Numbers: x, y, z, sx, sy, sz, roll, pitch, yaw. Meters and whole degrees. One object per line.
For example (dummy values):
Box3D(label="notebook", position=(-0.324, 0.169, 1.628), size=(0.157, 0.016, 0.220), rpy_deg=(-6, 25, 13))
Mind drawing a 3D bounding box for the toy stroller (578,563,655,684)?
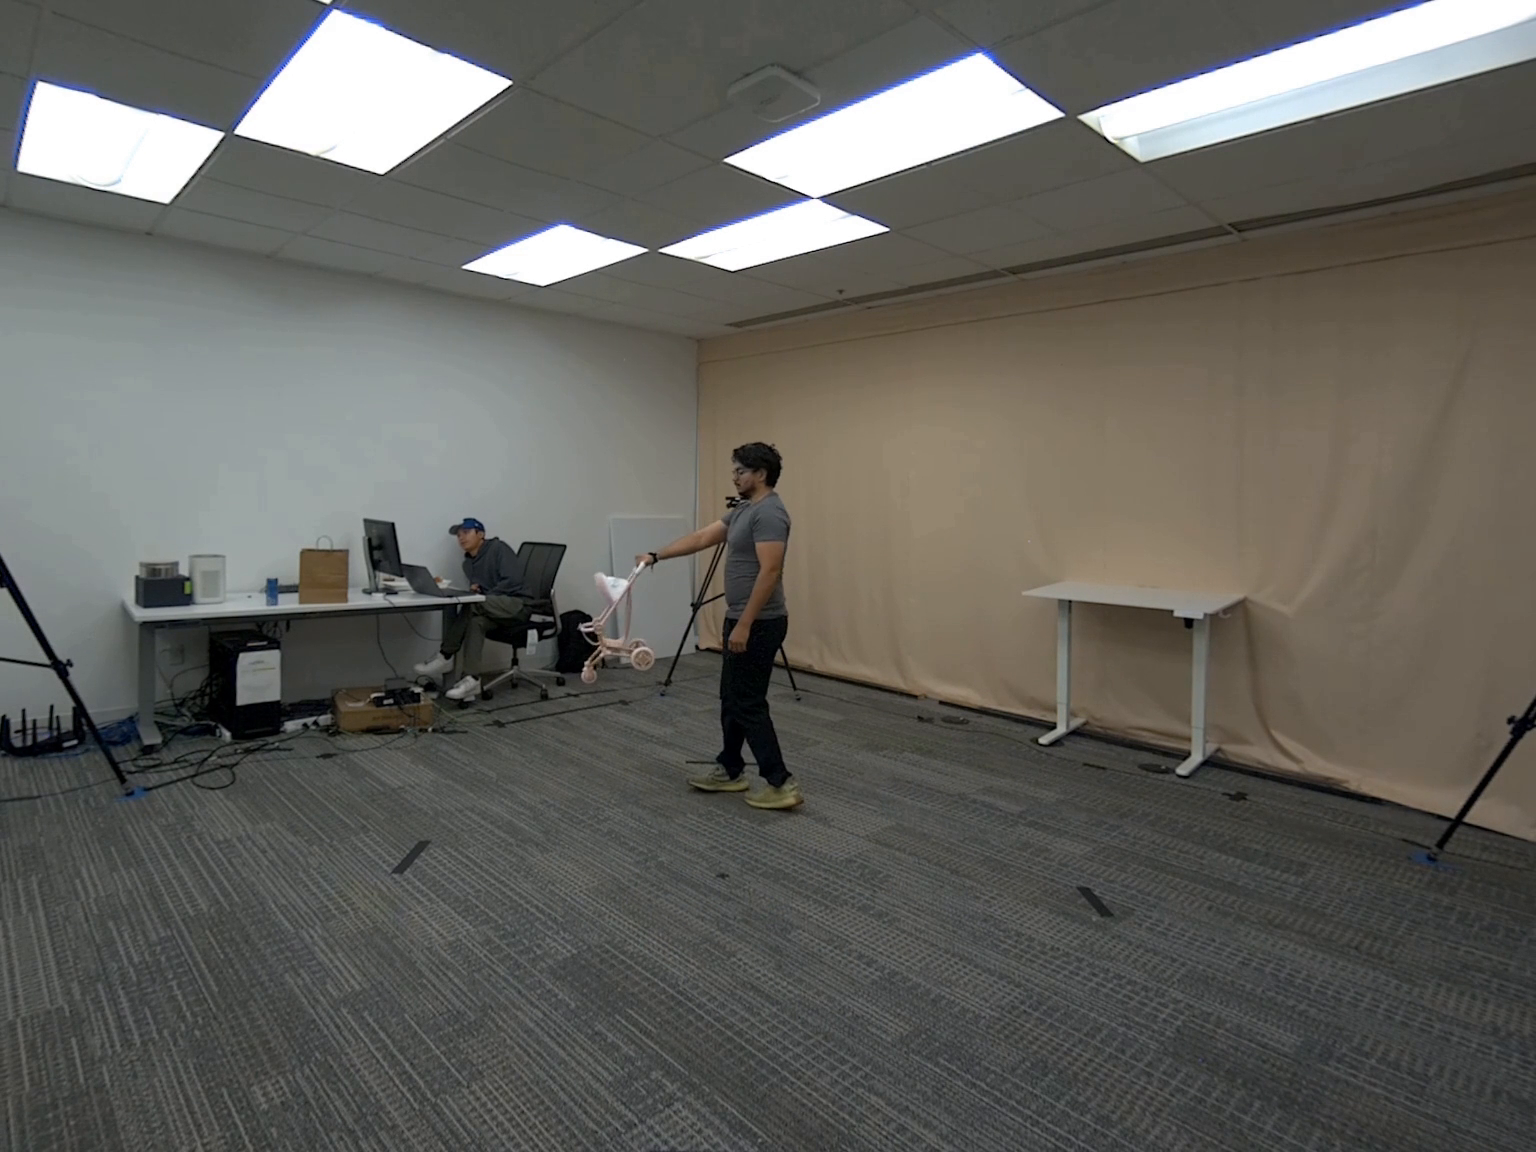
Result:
Box3D(label="toy stroller", position=(-0.710, 0.215, 3.865), size=(0.339, 0.533, 0.284), rpy_deg=(-6, 5, -8))
